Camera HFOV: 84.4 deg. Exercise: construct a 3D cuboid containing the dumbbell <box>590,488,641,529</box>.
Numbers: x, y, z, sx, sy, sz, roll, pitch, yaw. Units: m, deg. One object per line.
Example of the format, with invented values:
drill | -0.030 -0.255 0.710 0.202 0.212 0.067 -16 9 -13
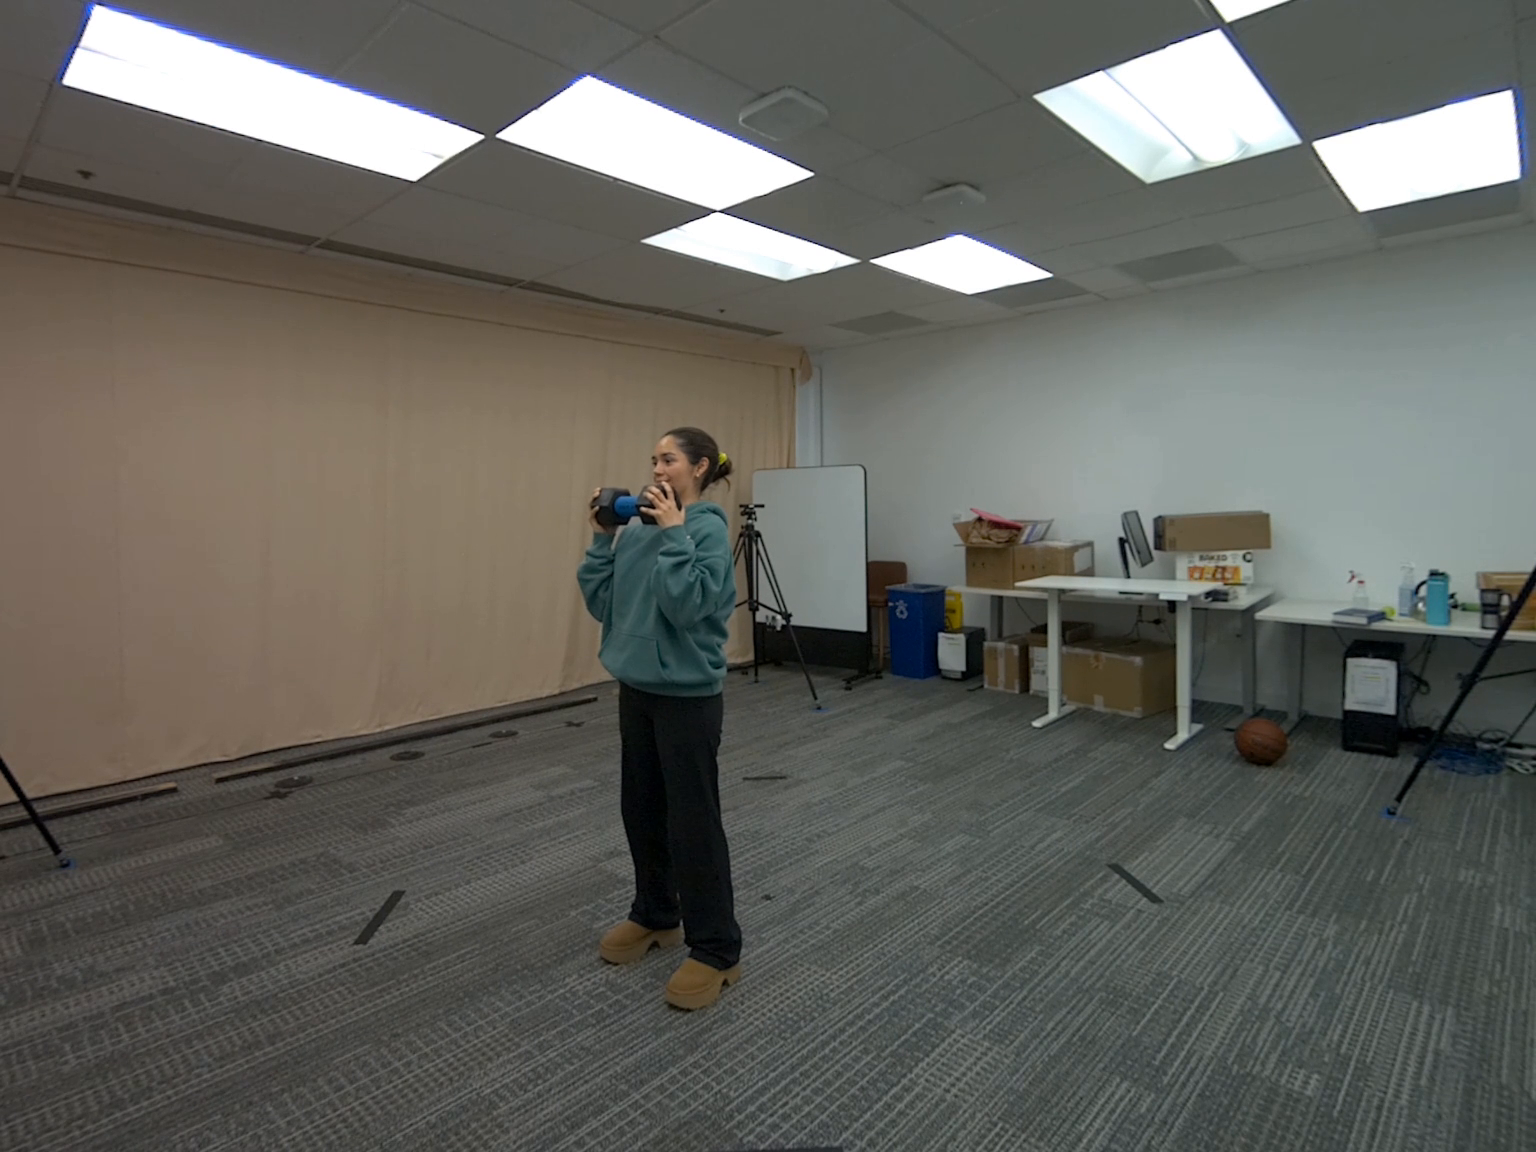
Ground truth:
dumbbell | -0.371 -0.195 2.396 0.303 0.120 0.107 5 35 46
